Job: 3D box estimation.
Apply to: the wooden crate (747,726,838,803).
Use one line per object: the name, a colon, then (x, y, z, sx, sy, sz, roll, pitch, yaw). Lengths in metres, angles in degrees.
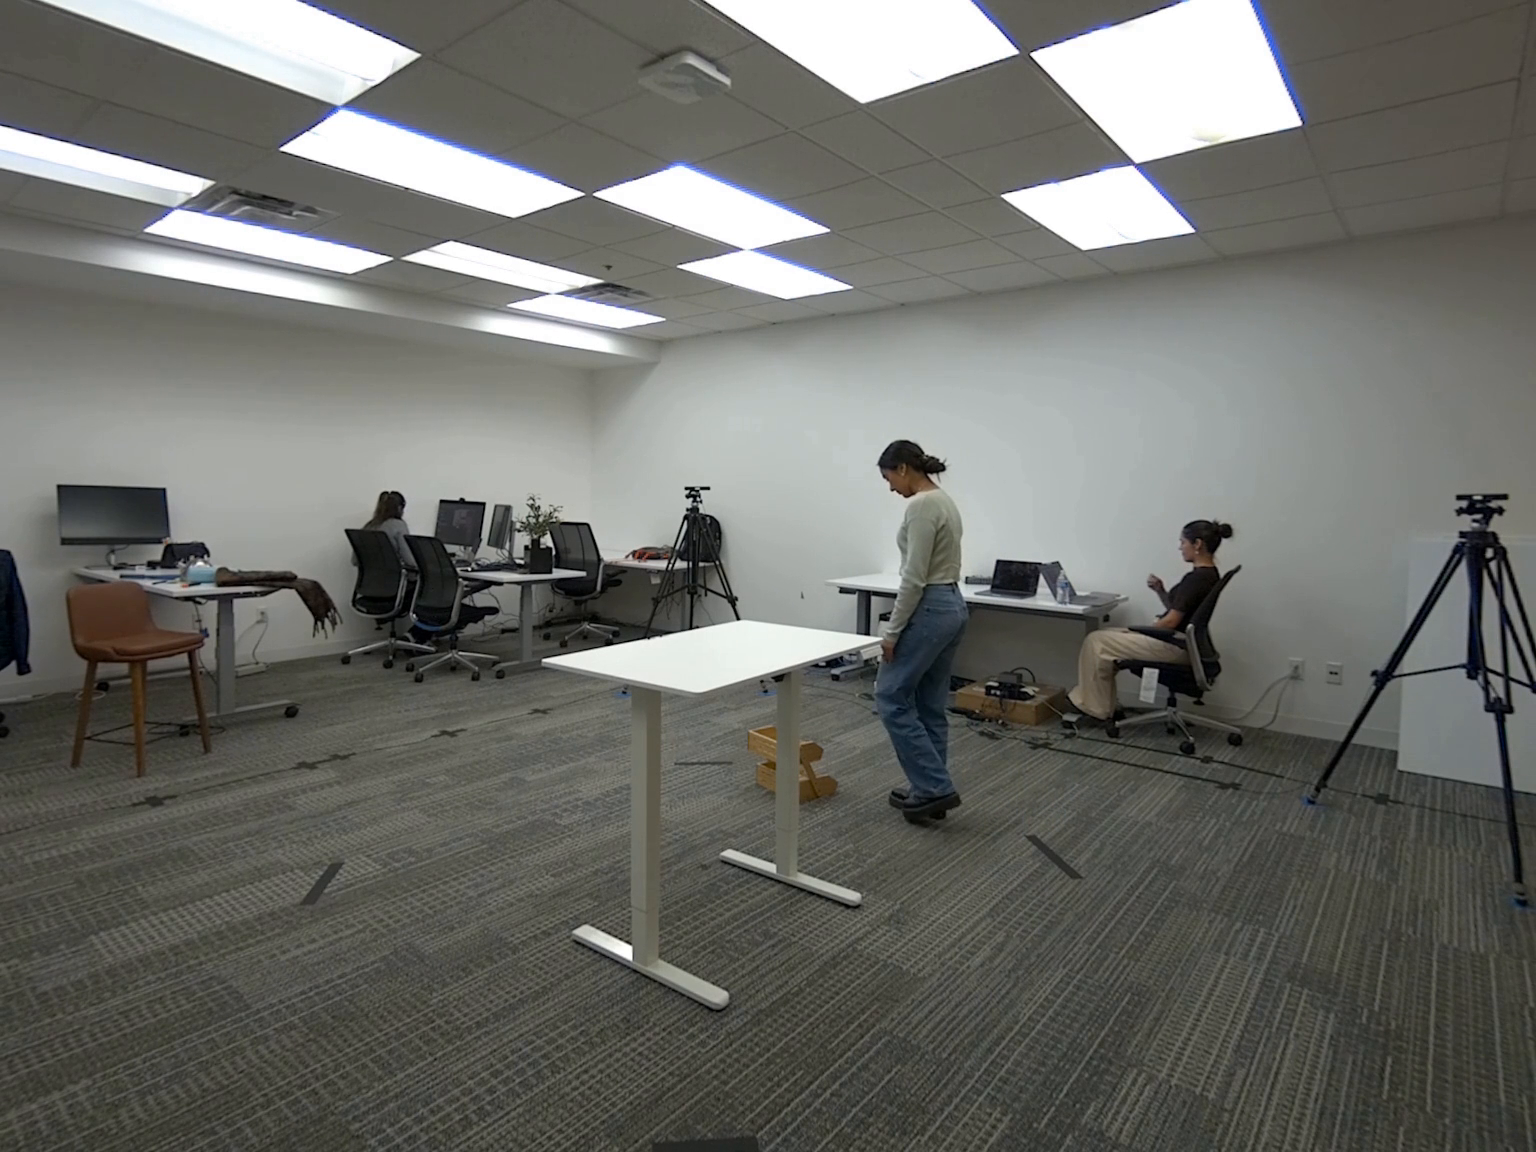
wooden crate: (0.108, 0.852, 3.953, 0.293, 0.272, 0.335, -3, 7, -37)
